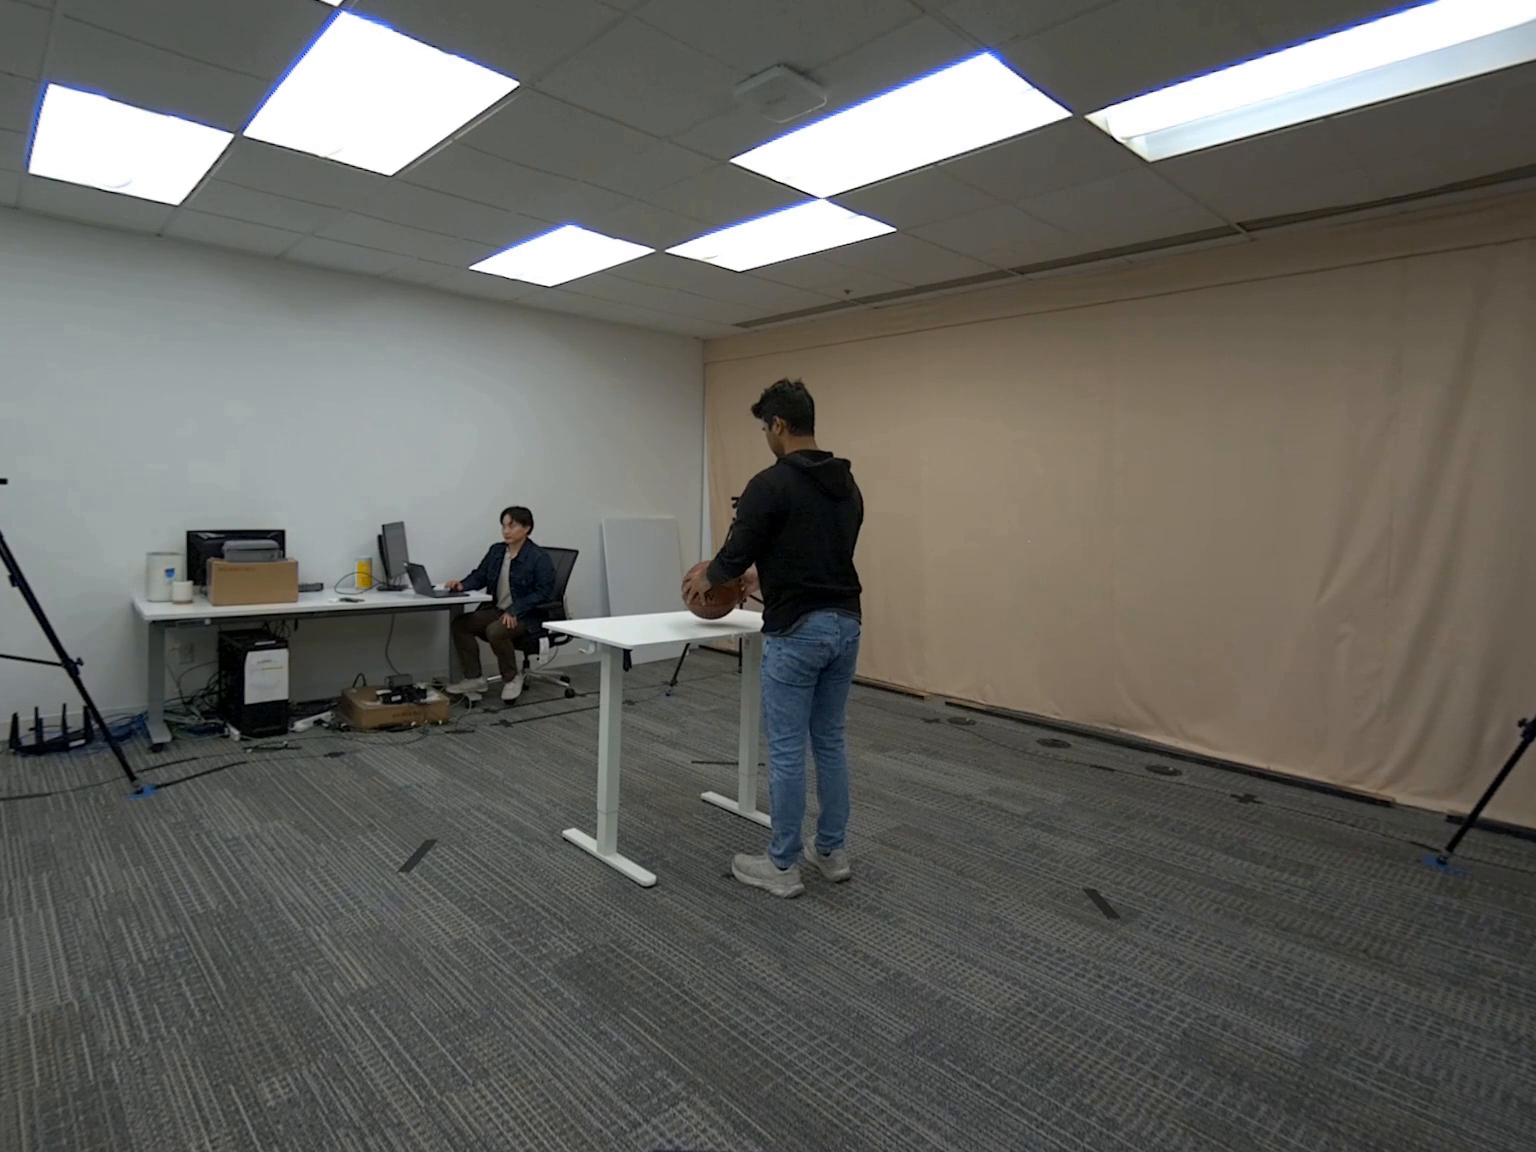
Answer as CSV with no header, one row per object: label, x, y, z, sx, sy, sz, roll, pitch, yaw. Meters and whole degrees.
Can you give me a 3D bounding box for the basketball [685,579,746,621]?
basketball,-0.221,0.058,3.372,0.236,0.235,0.237,1,4,-1
